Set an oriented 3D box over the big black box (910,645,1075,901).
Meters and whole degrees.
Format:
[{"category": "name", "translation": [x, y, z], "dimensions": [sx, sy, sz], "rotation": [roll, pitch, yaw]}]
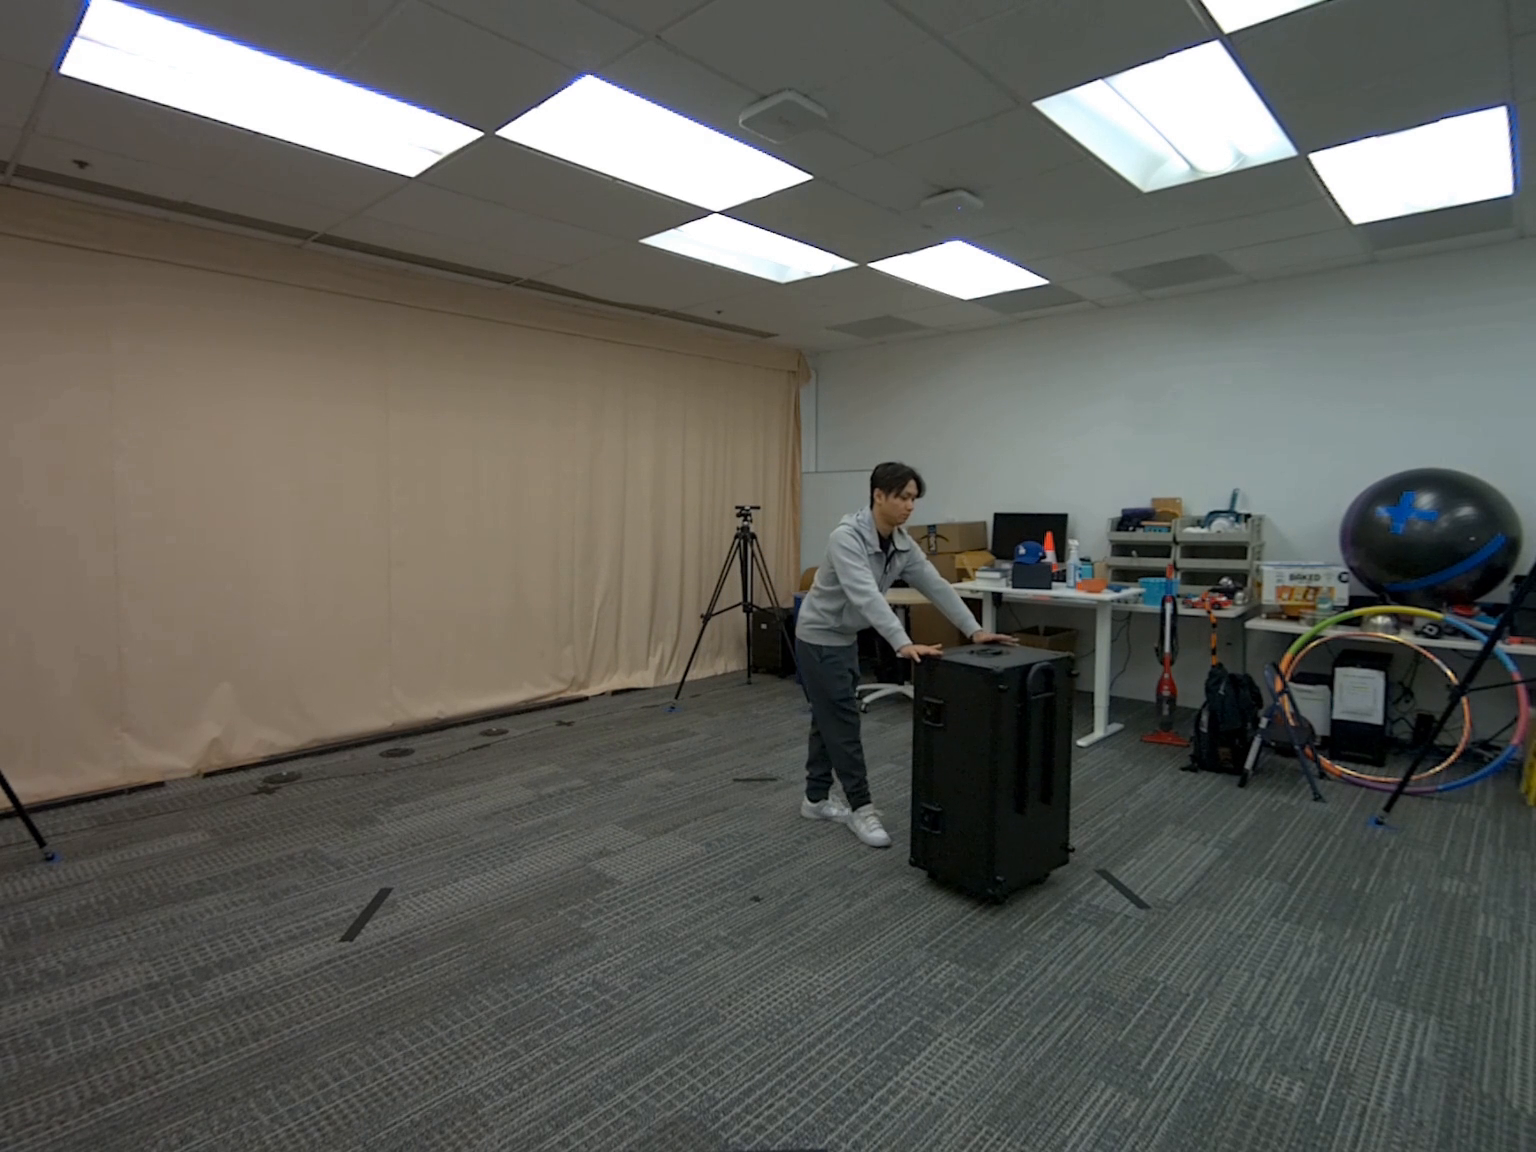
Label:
[{"category": "big black box", "translation": [0.839, 0.713, 3.081], "dimensions": [0.505, 0.859, 0.409], "rotation": [-2, 5, -40]}]
